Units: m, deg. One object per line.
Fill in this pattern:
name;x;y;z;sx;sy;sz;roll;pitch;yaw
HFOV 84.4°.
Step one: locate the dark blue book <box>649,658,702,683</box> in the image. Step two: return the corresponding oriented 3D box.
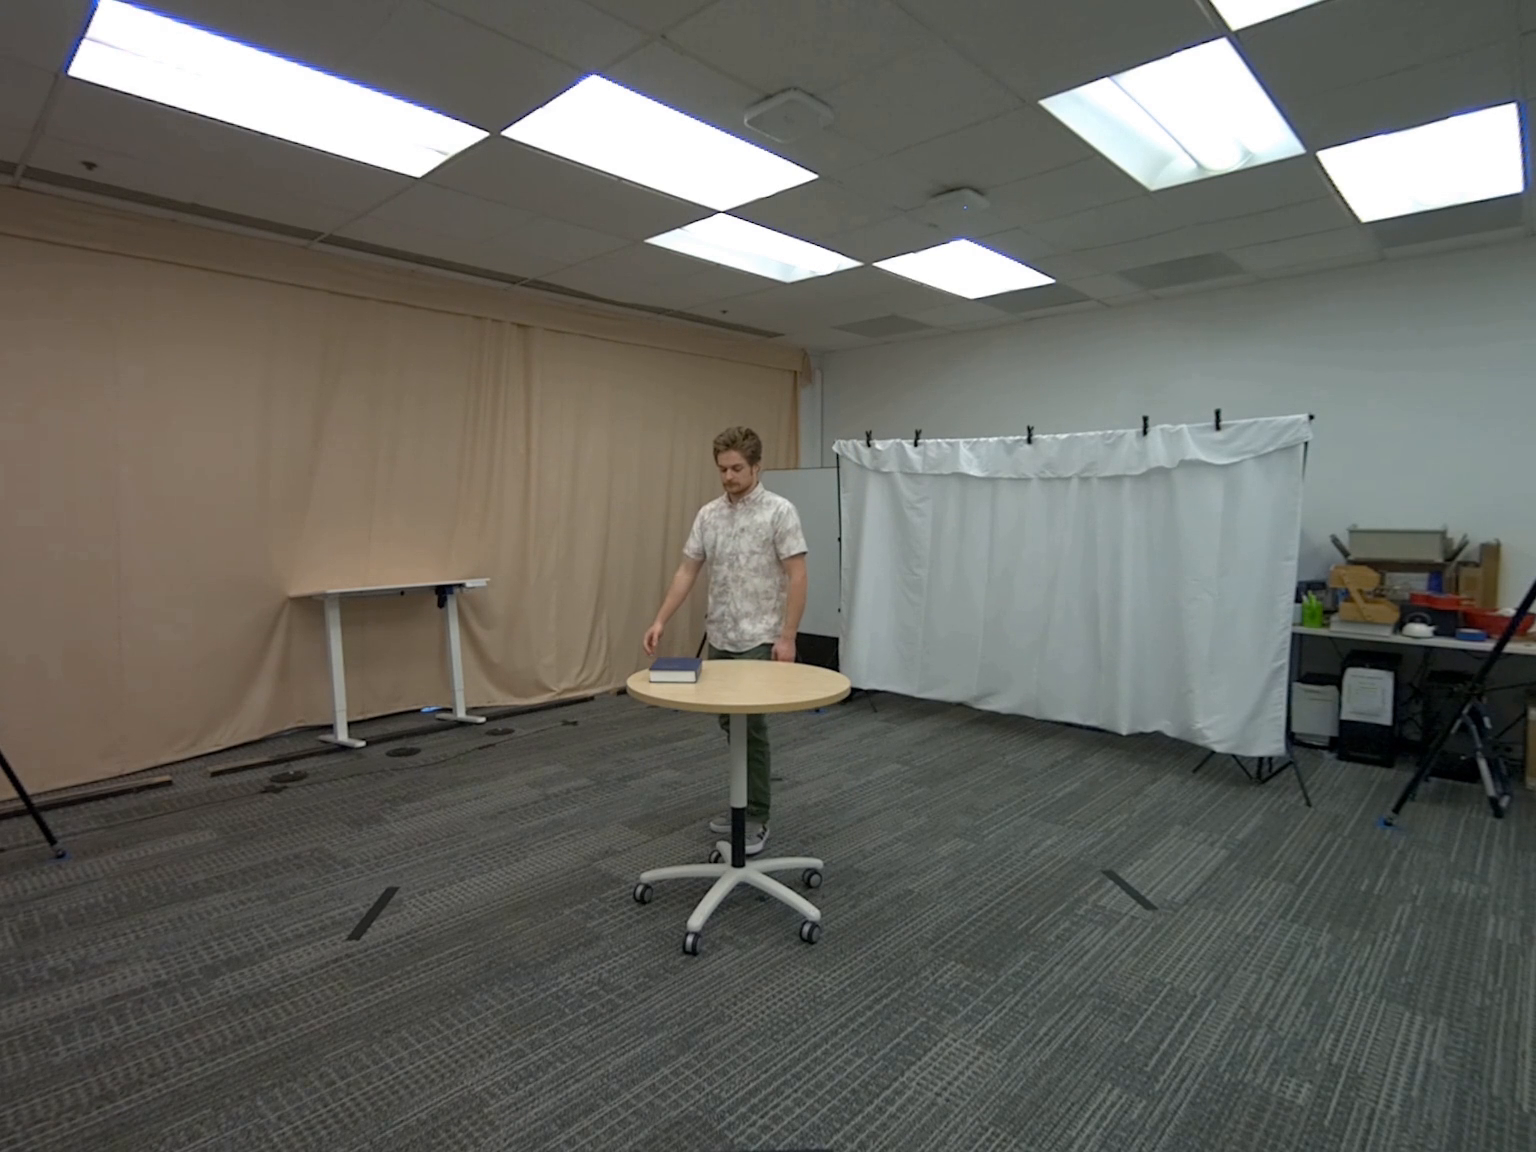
dark blue book;-0.322;0.326;2.968;0.164;0.045;0.245;0;5;2
